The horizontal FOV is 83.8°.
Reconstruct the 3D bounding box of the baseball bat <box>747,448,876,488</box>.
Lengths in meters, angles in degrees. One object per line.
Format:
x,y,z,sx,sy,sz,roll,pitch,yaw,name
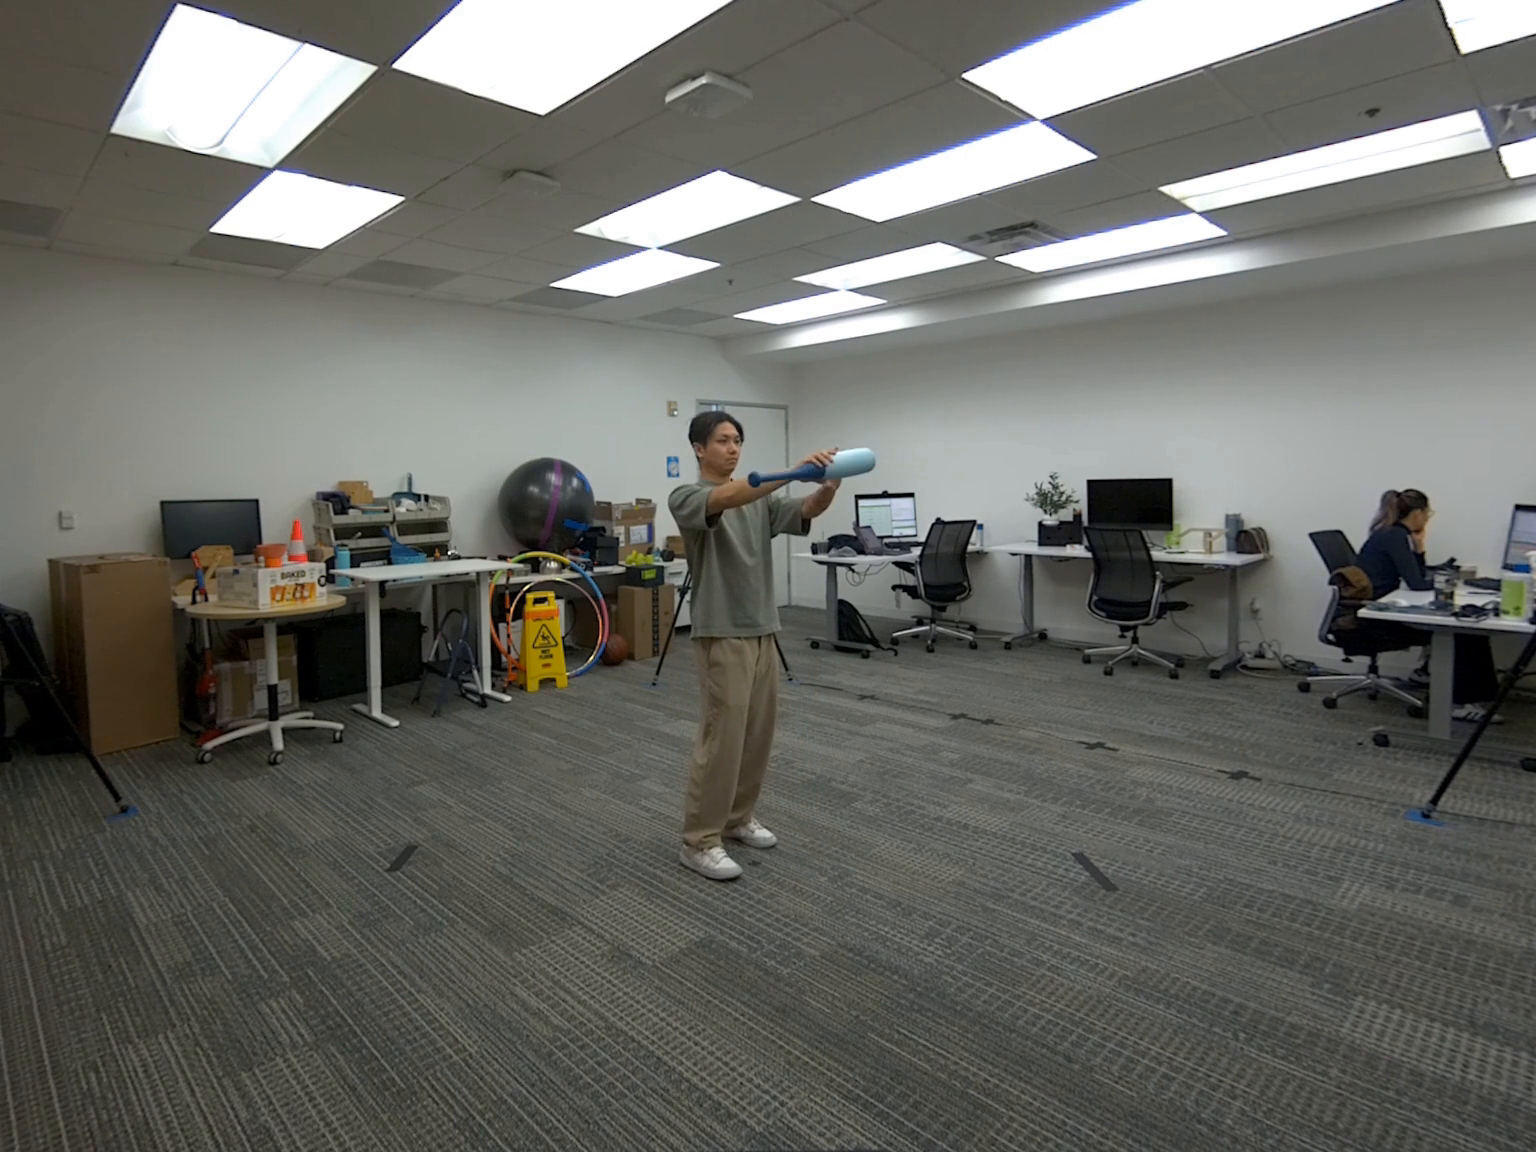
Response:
0.146,-0.348,2.767,0.532,0.088,0.092,-17,14,-39,baseball bat
